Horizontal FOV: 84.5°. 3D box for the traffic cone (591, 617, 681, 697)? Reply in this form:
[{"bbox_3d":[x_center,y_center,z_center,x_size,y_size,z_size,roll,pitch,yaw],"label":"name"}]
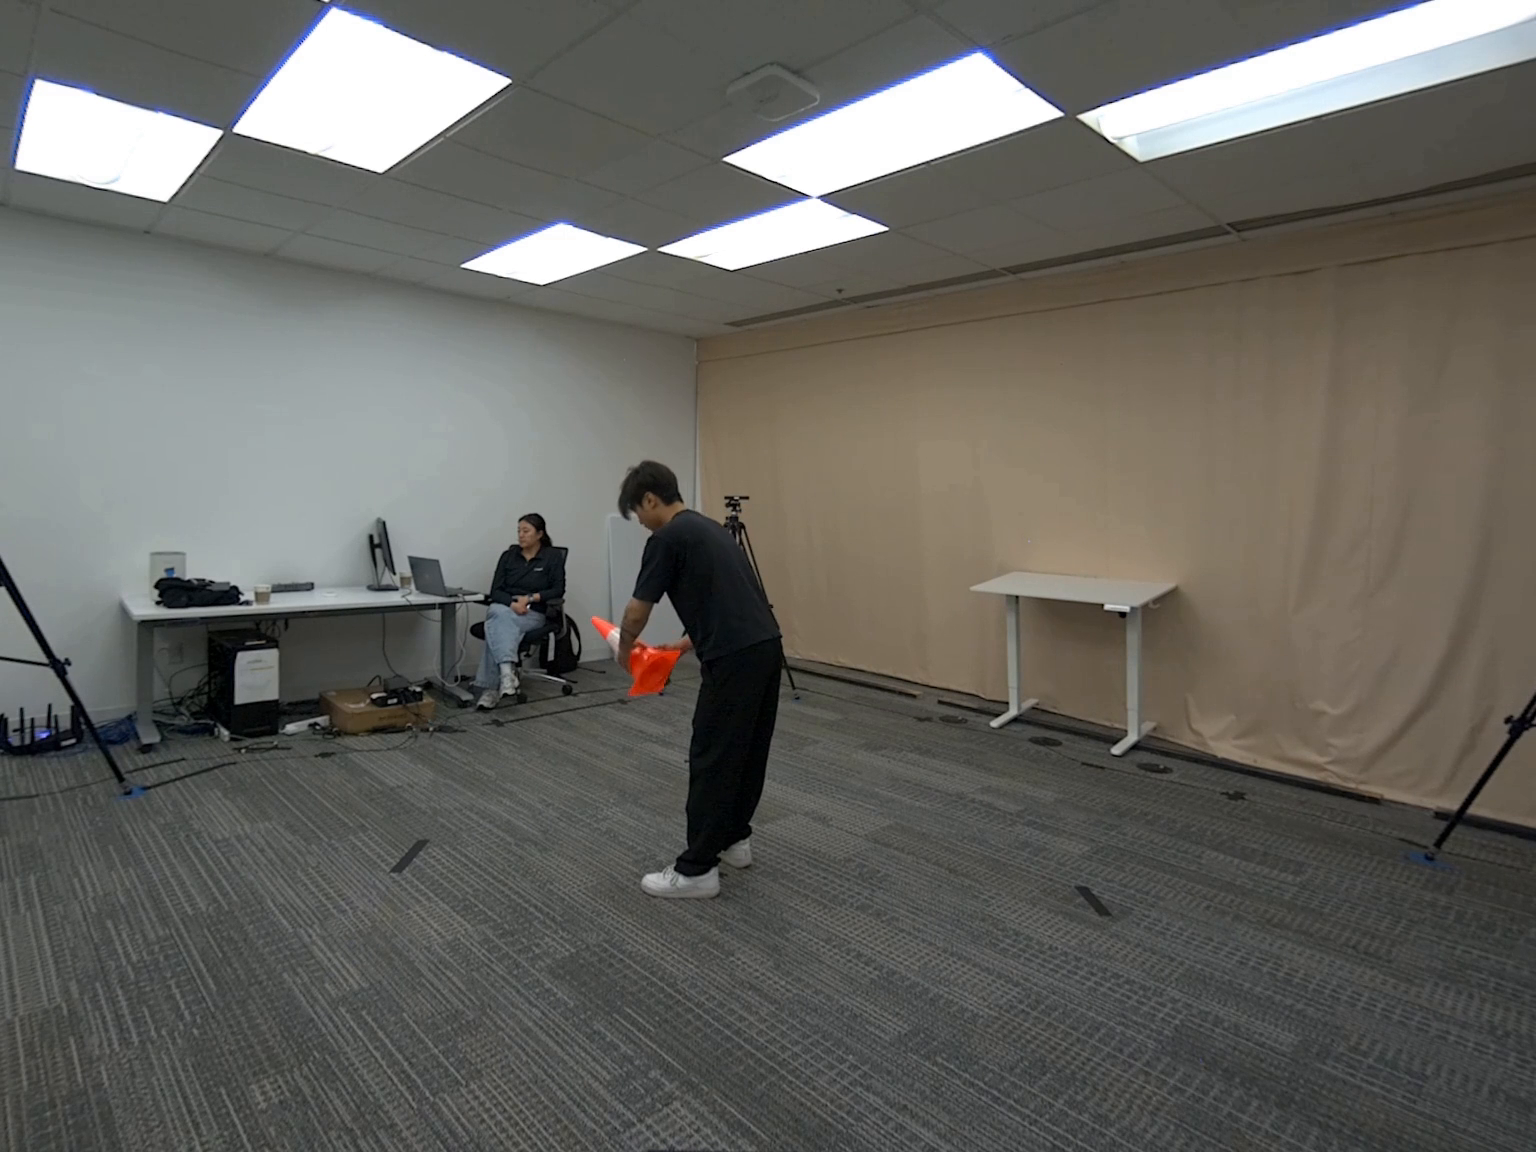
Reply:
[{"bbox_3d":[-0.569,0.277,3.356,0.395,0.204,0.198,36,18,31],"label":"traffic cone"}]
